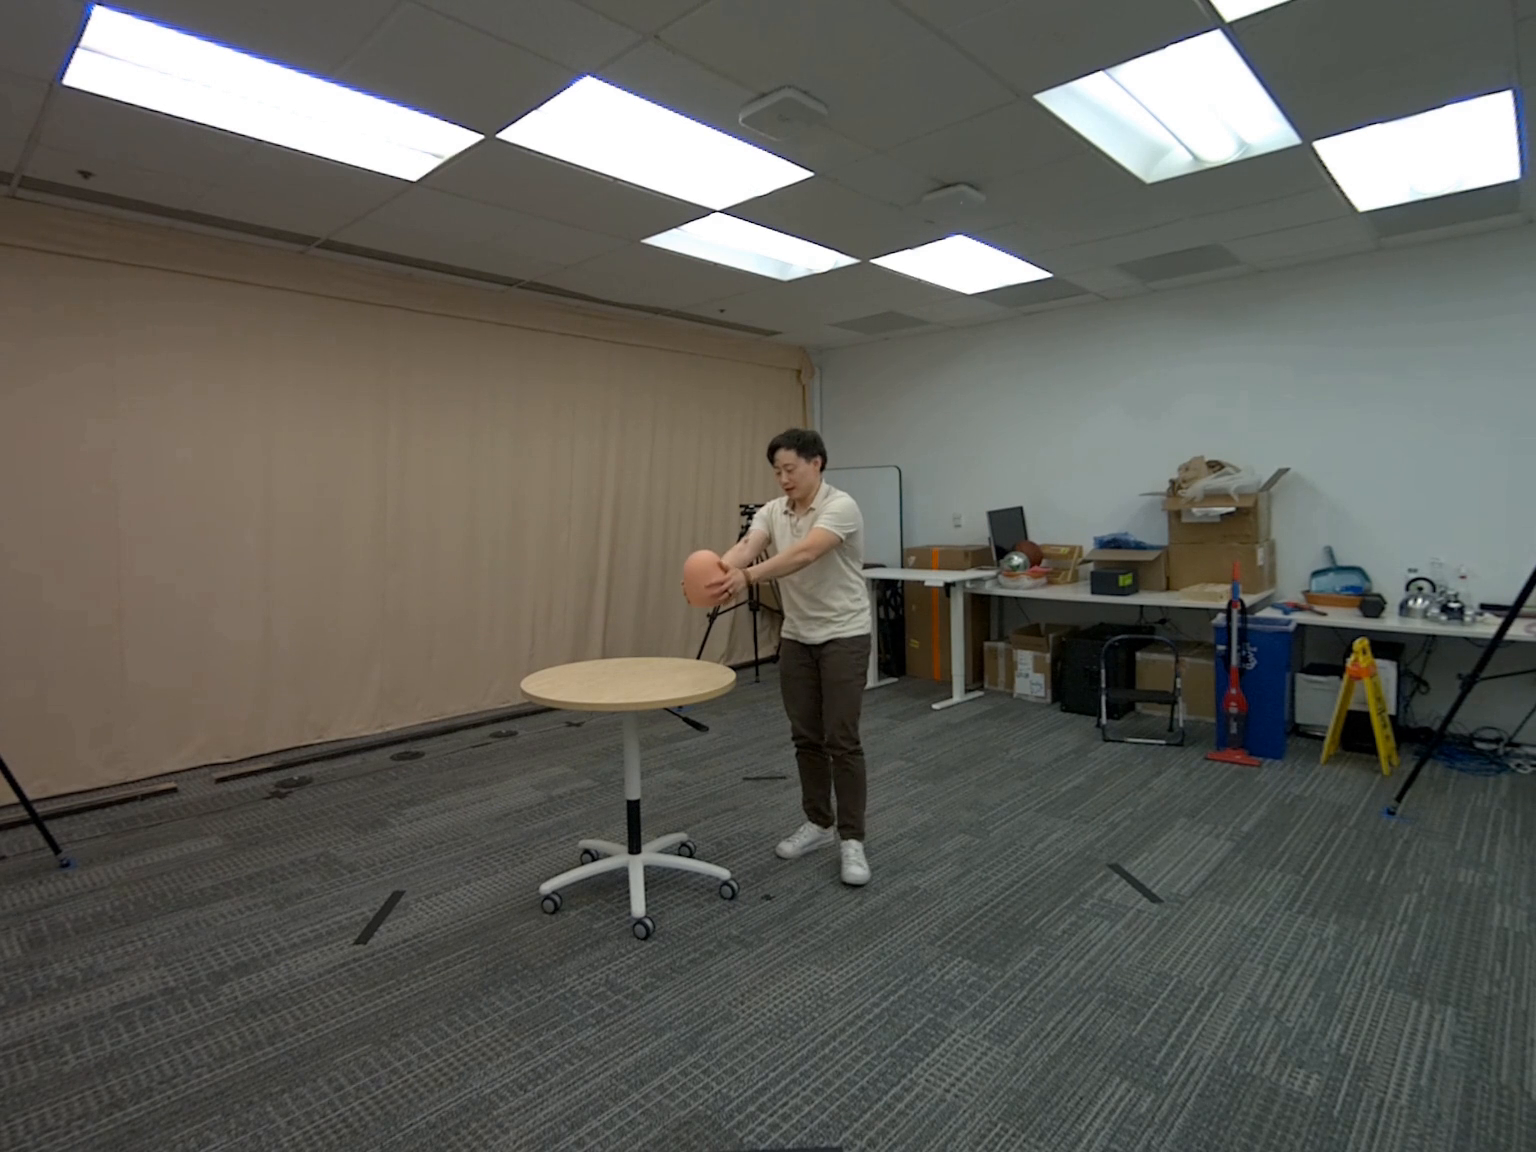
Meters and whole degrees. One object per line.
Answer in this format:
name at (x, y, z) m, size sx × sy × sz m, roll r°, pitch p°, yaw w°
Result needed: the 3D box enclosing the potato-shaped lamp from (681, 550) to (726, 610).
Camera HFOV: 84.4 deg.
potato-shaped lamp at (-0.200, 0.010, 2.938) m, size 0.170 × 0.196 × 0.167 m, roll 1°, pitch 17°, yaw 45°
